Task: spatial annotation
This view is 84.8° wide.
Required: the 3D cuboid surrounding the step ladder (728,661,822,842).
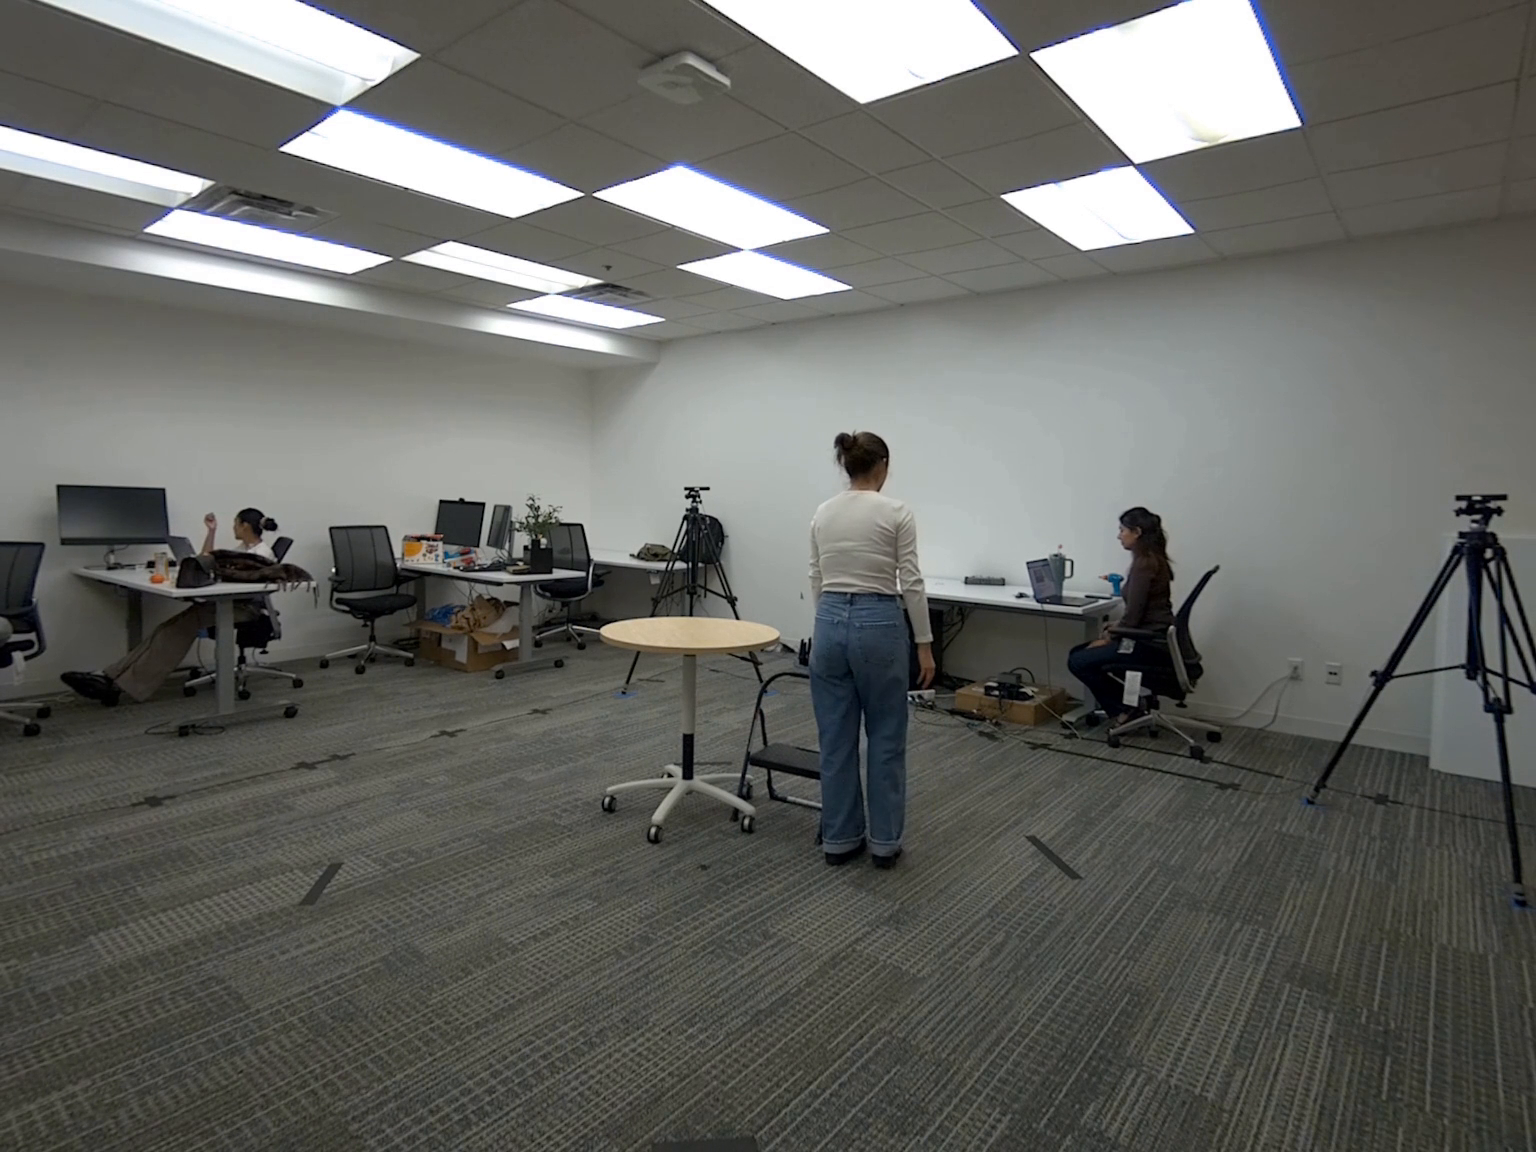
[{"bbox_3d":[0.110,0.717,3.575,0.444,0.604,0.340,4,4,31],"label":"step ladder"}]
